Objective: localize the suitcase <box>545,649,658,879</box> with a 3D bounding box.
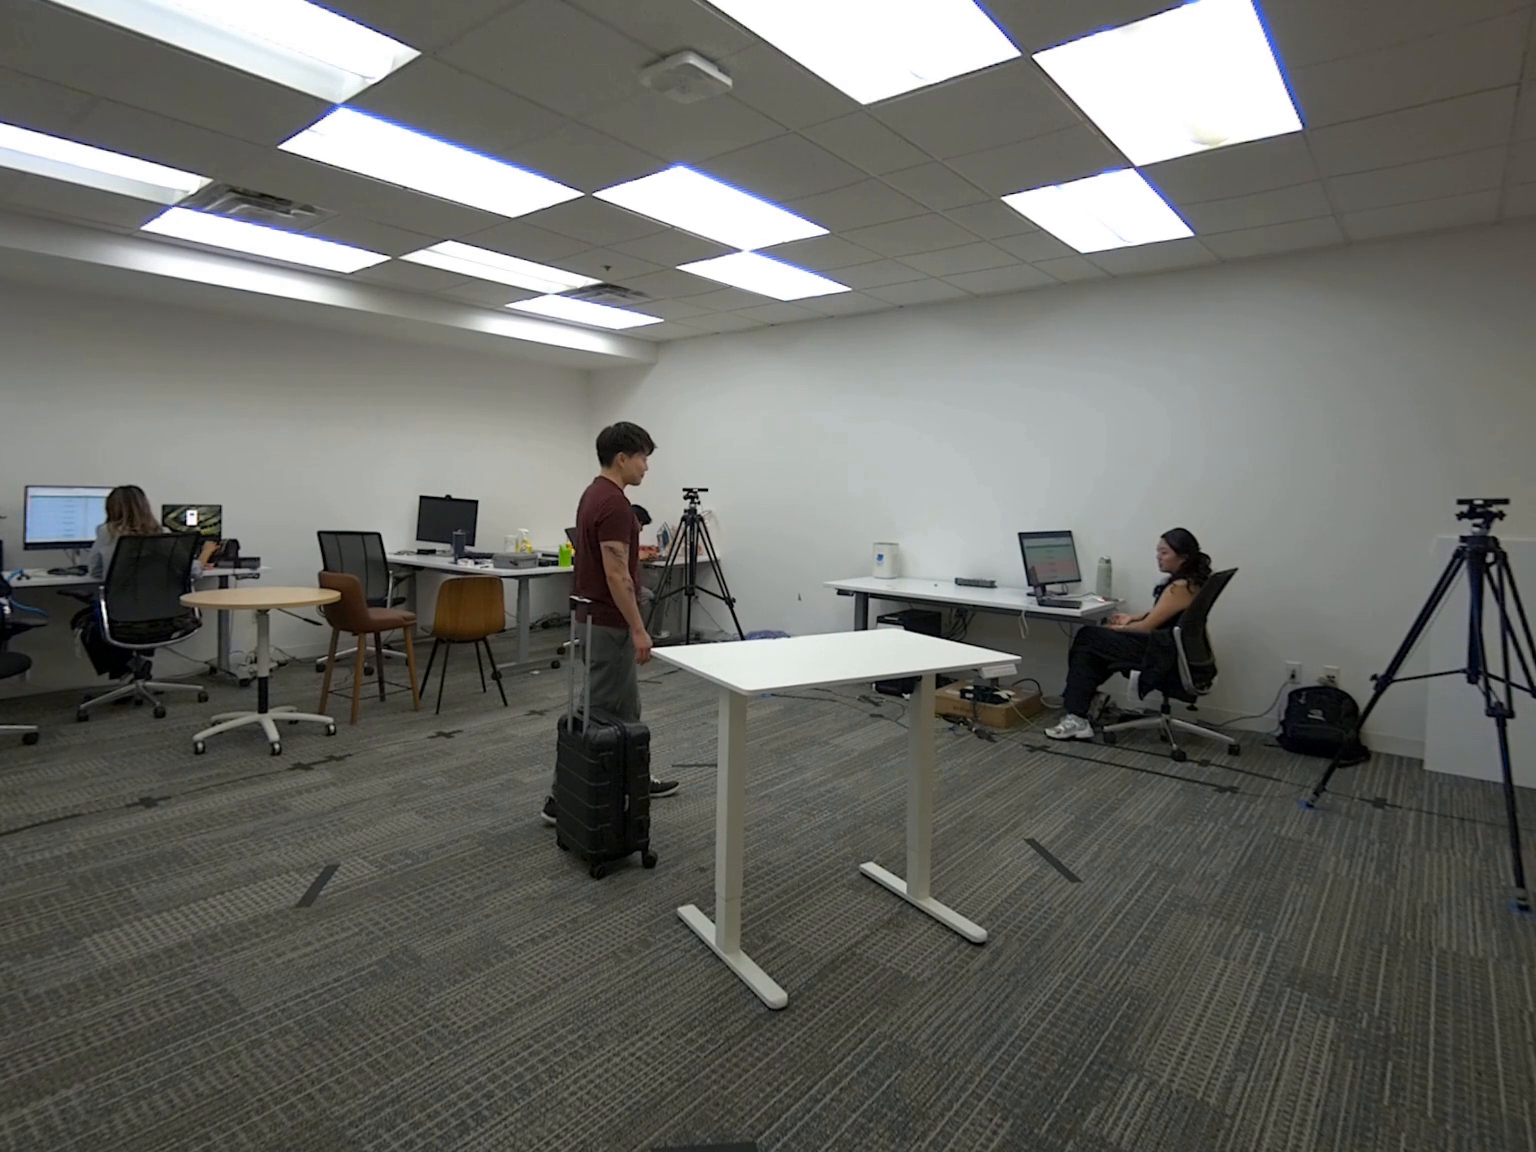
[{"bbox_3d":[-0.621,0.577,3.169,0.250,0.976,0.396,1,3,-32],"label":"suitcase"}]
